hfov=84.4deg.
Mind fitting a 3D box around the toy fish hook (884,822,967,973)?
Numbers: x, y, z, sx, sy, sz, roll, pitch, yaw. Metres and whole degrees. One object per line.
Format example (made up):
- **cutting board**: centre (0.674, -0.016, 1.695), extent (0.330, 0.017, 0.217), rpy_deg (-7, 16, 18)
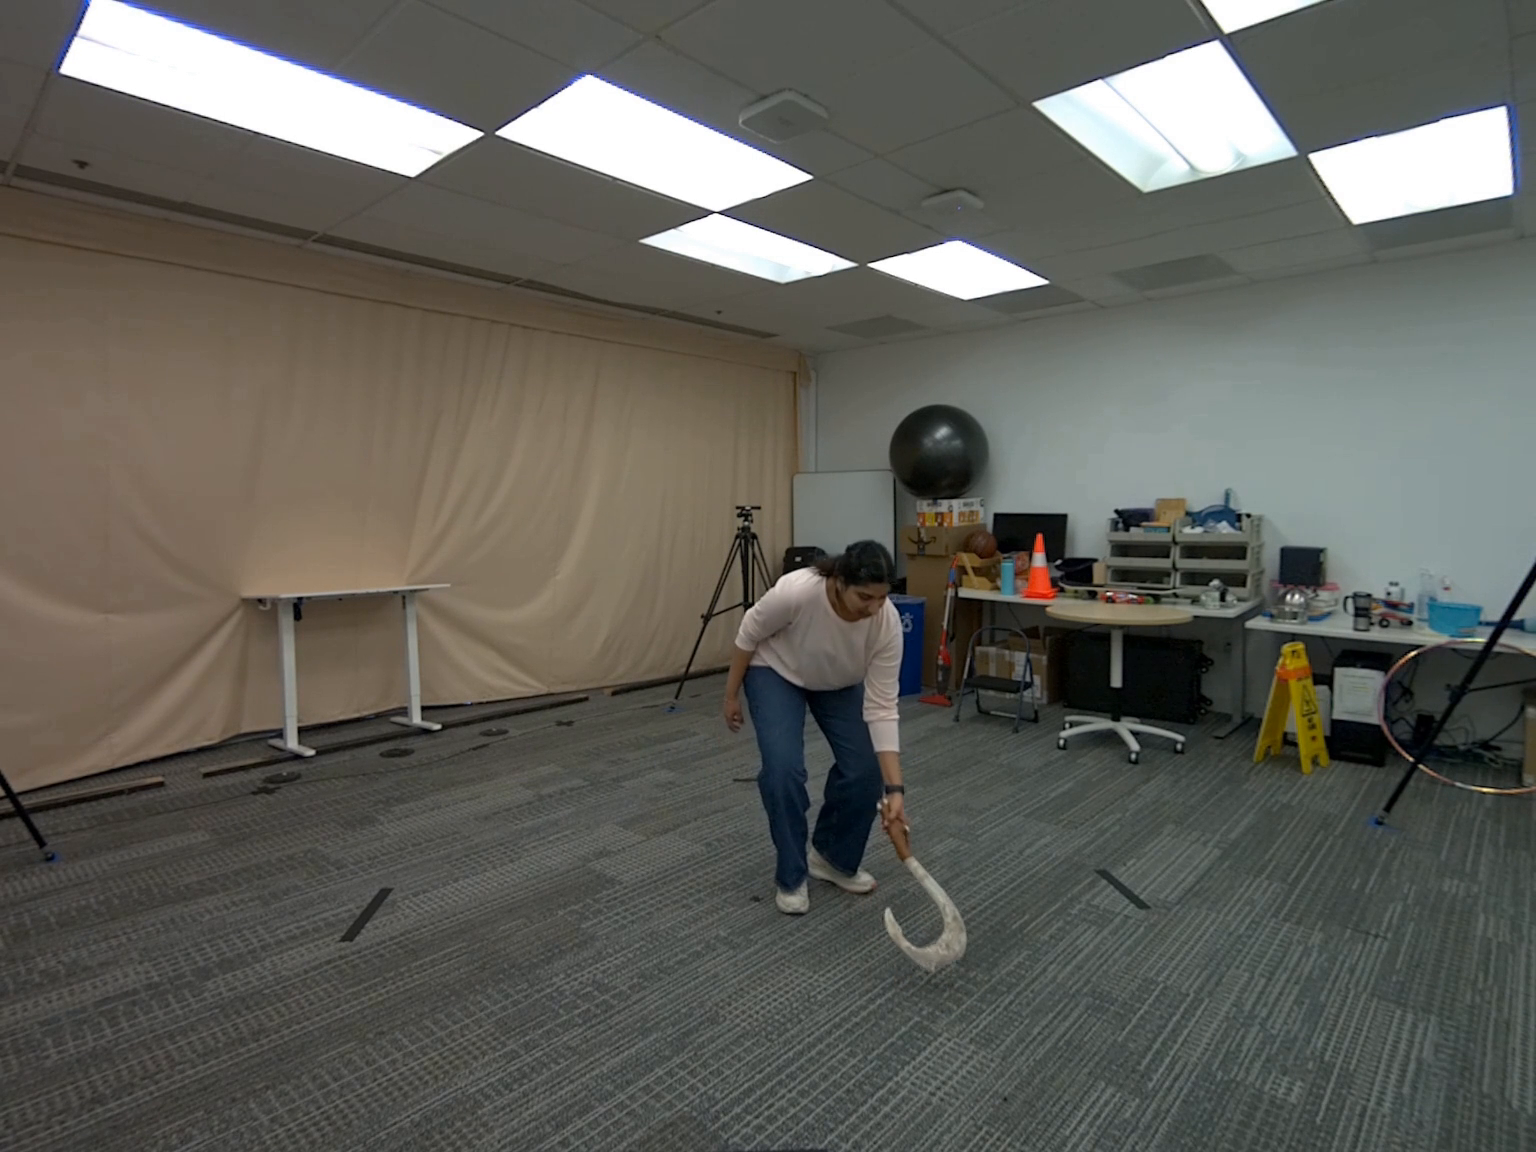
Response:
- **toy fish hook**: centre (0.422, 0.904, 2.550), extent (0.221, 0.047, 0.522), rpy_deg (-13, 50, -19)
